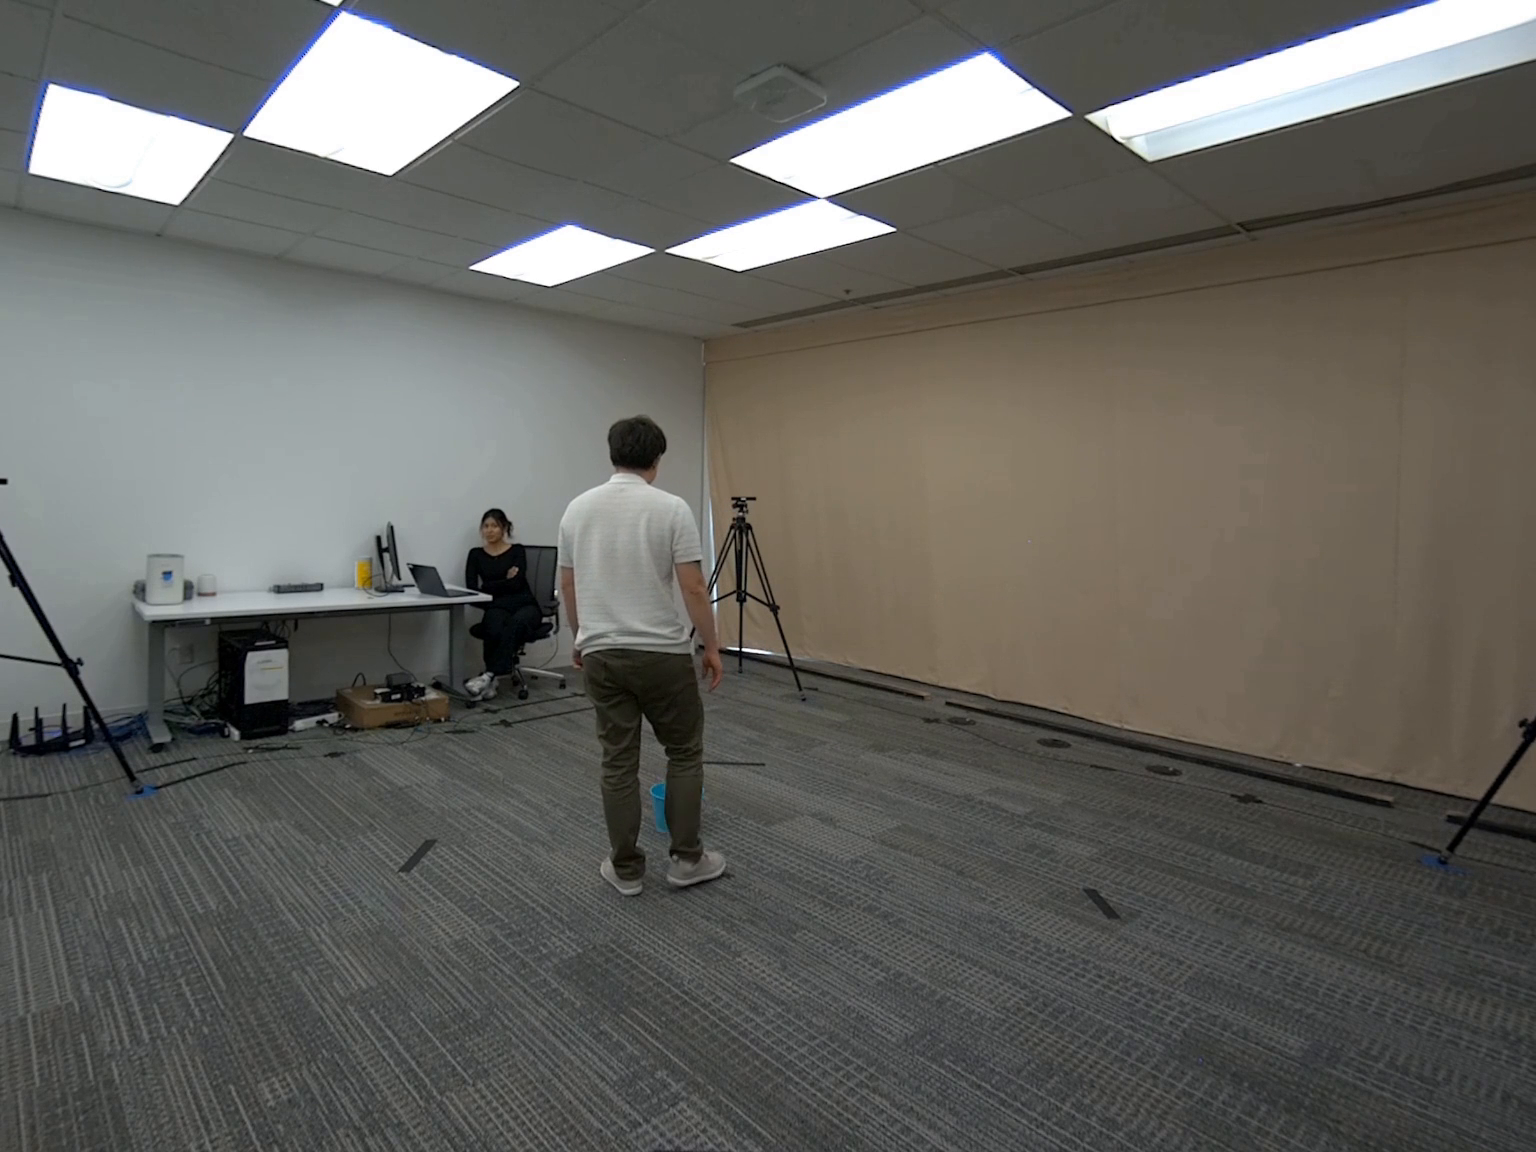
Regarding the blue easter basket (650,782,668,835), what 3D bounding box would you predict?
[{"bbox_3d":[-0.387,0.983,3.573,0.243,0.155,0.244,1,5,-1],"label":"blue easter basket"}]
